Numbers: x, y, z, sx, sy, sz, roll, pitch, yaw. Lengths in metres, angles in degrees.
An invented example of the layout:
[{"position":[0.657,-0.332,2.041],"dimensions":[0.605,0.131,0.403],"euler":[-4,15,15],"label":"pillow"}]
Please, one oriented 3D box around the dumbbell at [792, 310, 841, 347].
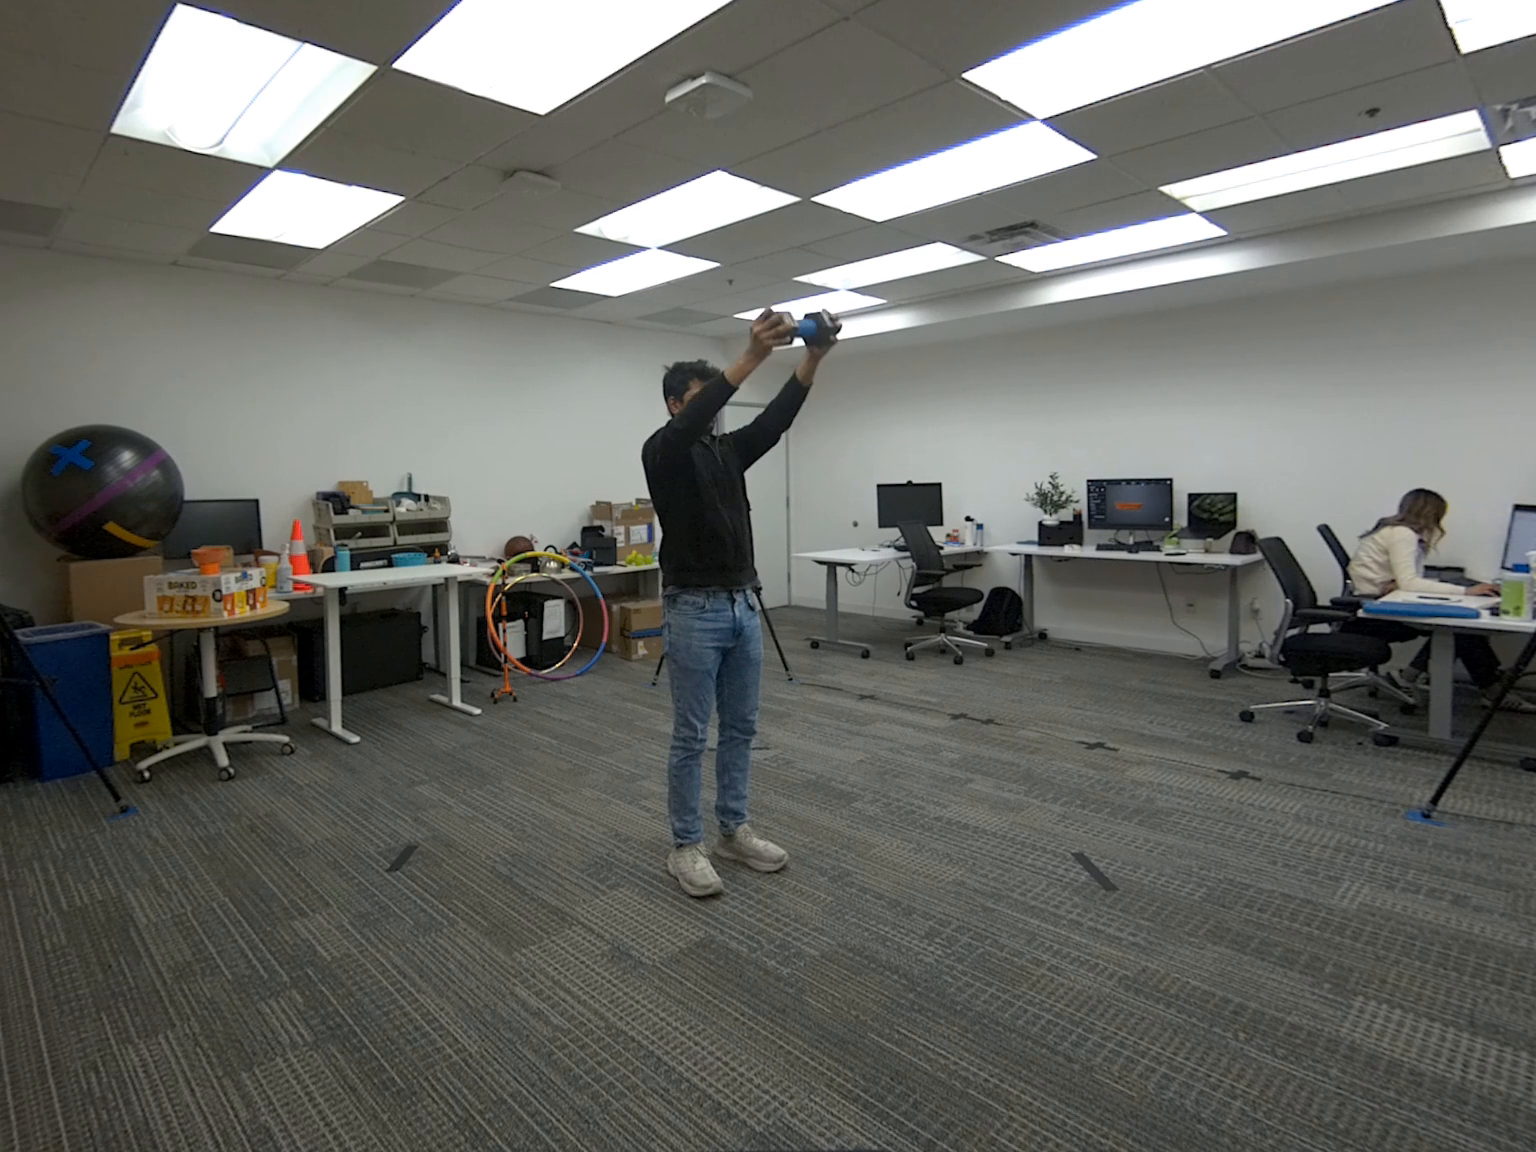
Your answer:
[{"position":[0.097,-0.771,2.699],"dimensions":[0.288,0.125,0.109],"euler":[-18,-15,-45],"label":"dumbbell"}]
